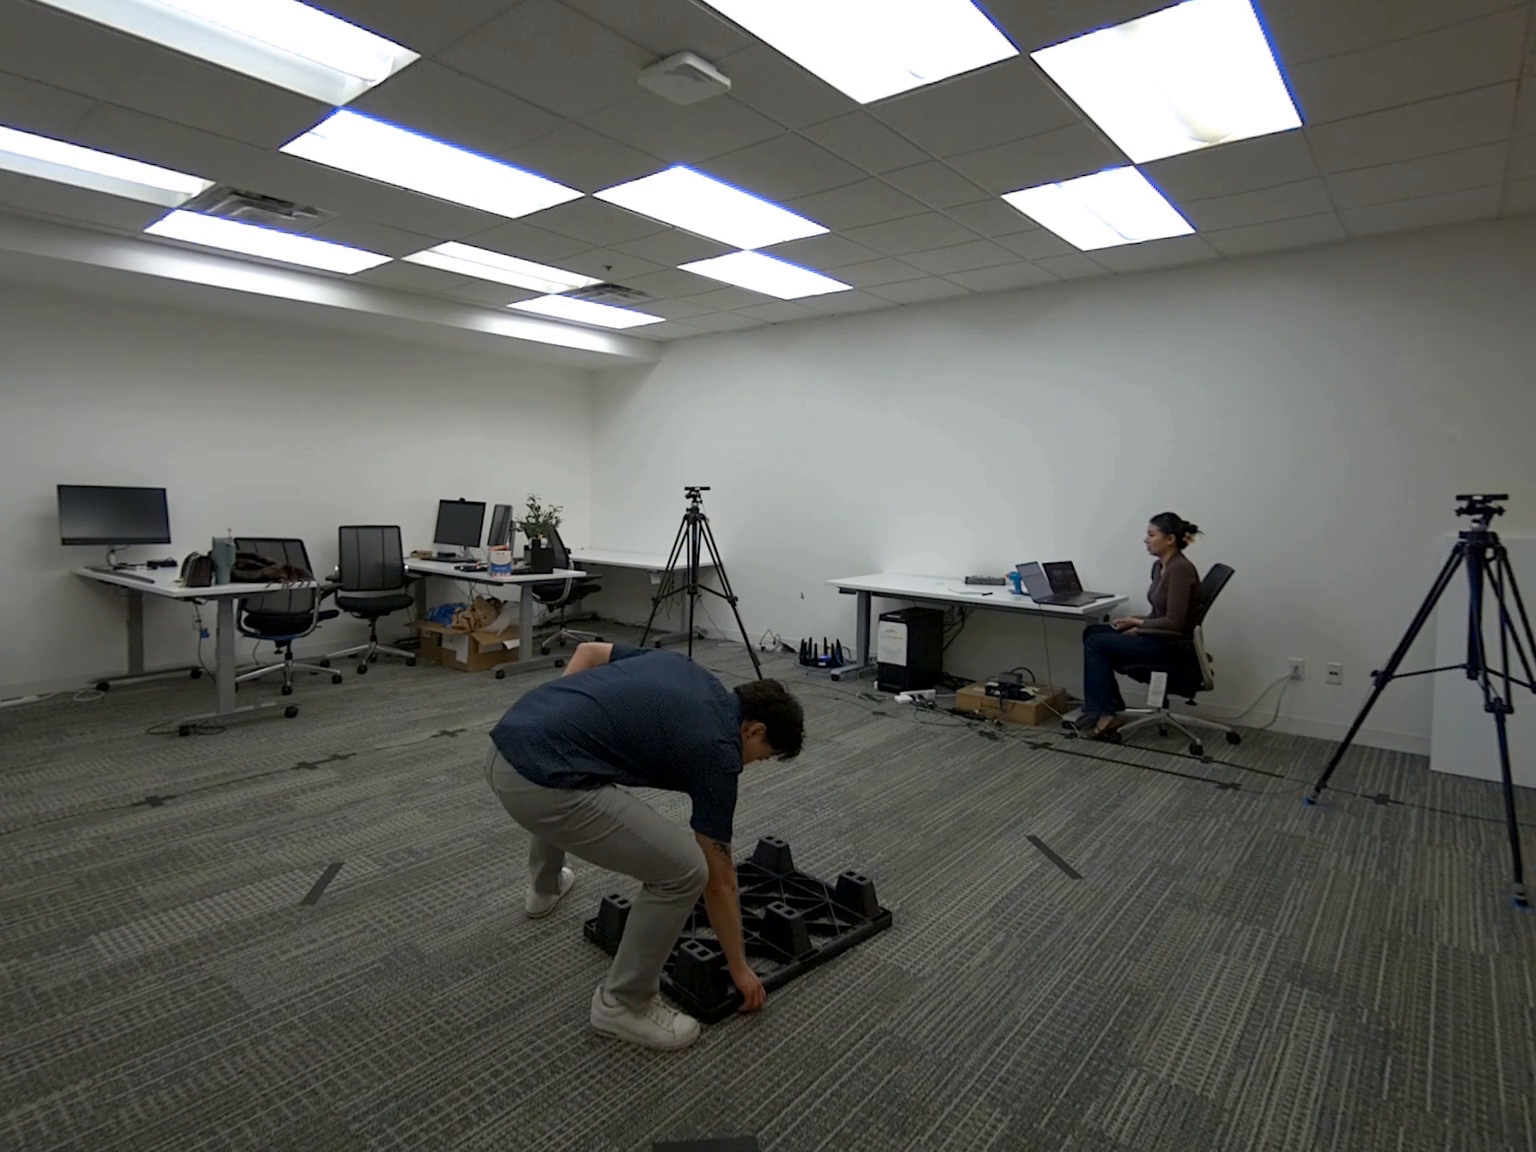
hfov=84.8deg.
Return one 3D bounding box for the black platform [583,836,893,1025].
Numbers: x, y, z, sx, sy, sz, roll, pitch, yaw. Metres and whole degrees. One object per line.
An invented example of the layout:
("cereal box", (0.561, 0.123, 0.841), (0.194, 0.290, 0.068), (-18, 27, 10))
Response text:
("black platform", (-0.090, 1.044, 2.669), (0.782, 0.143, 0.626), (-5, 8, -44))
